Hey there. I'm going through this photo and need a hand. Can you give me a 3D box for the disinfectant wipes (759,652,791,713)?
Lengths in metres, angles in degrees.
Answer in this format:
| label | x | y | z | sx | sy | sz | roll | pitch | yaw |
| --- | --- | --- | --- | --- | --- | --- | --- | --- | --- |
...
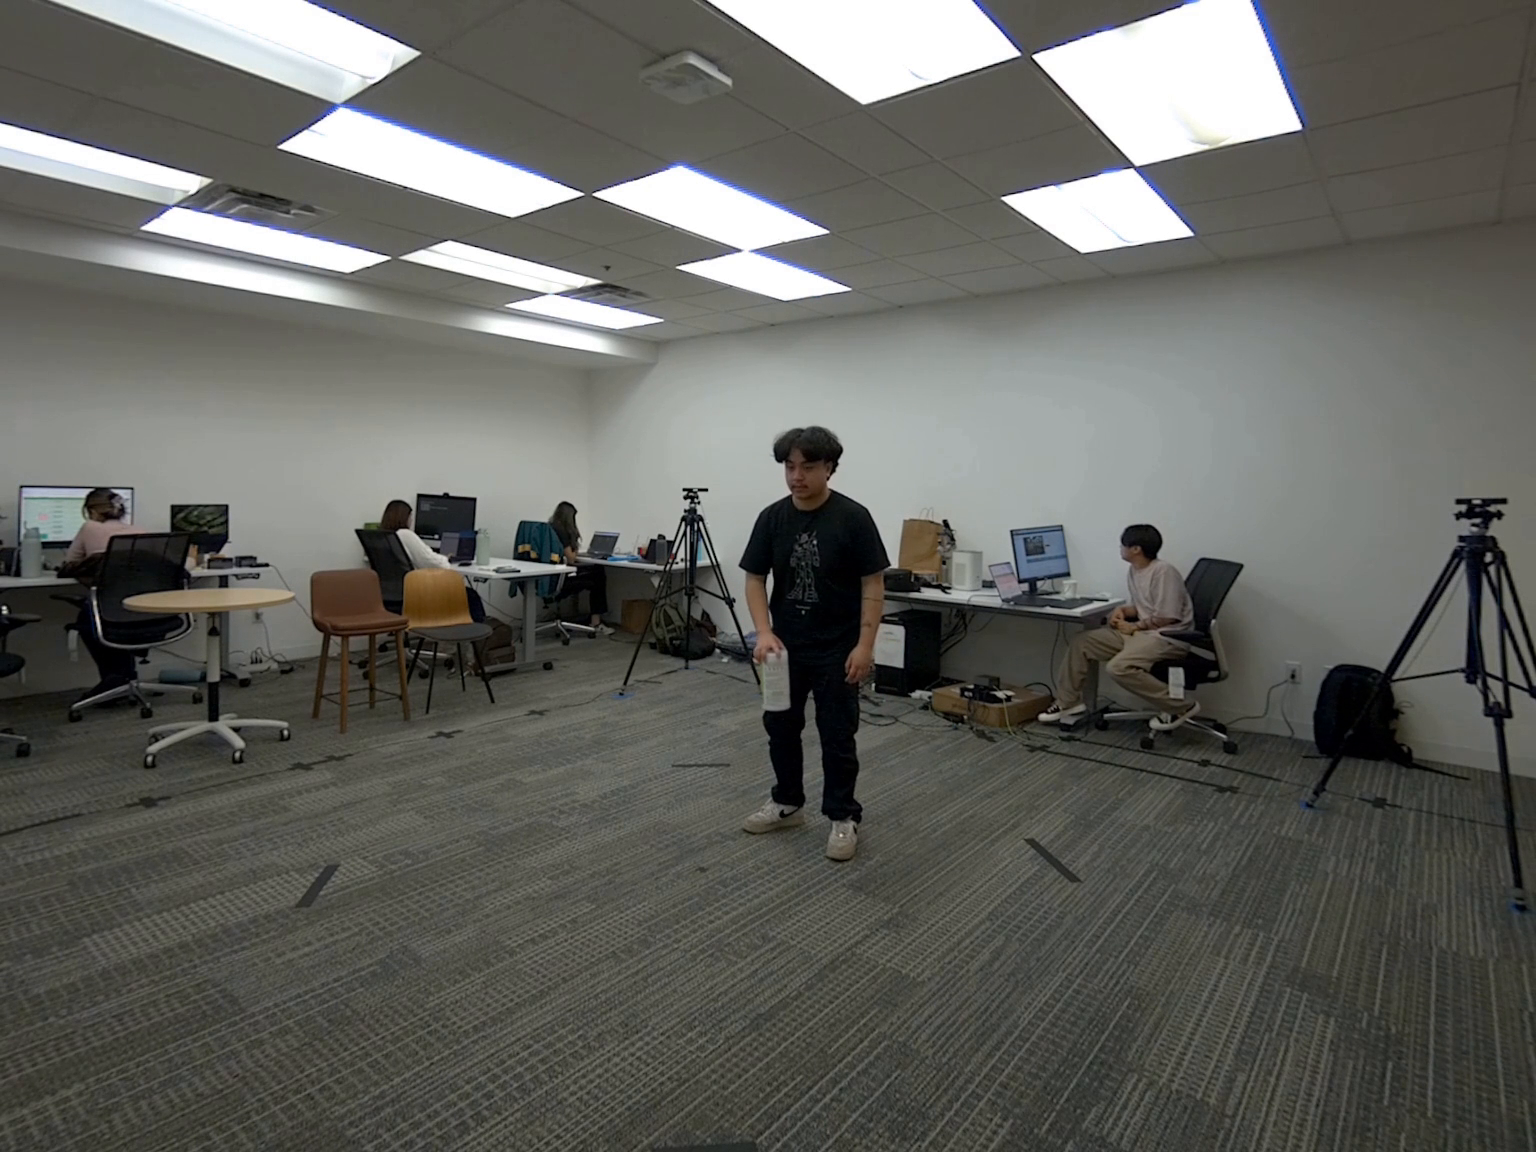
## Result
| label | x | y | z | sx | sy | sz | roll | pitch | yaw |
| --- | --- | --- | --- | --- | --- | --- | --- | --- | --- |
| disinfectant wipes | 0.022 | 0.394 | 3.215 | 0.118 | 0.217 | 0.118 | -3 | 2 | -2 |
